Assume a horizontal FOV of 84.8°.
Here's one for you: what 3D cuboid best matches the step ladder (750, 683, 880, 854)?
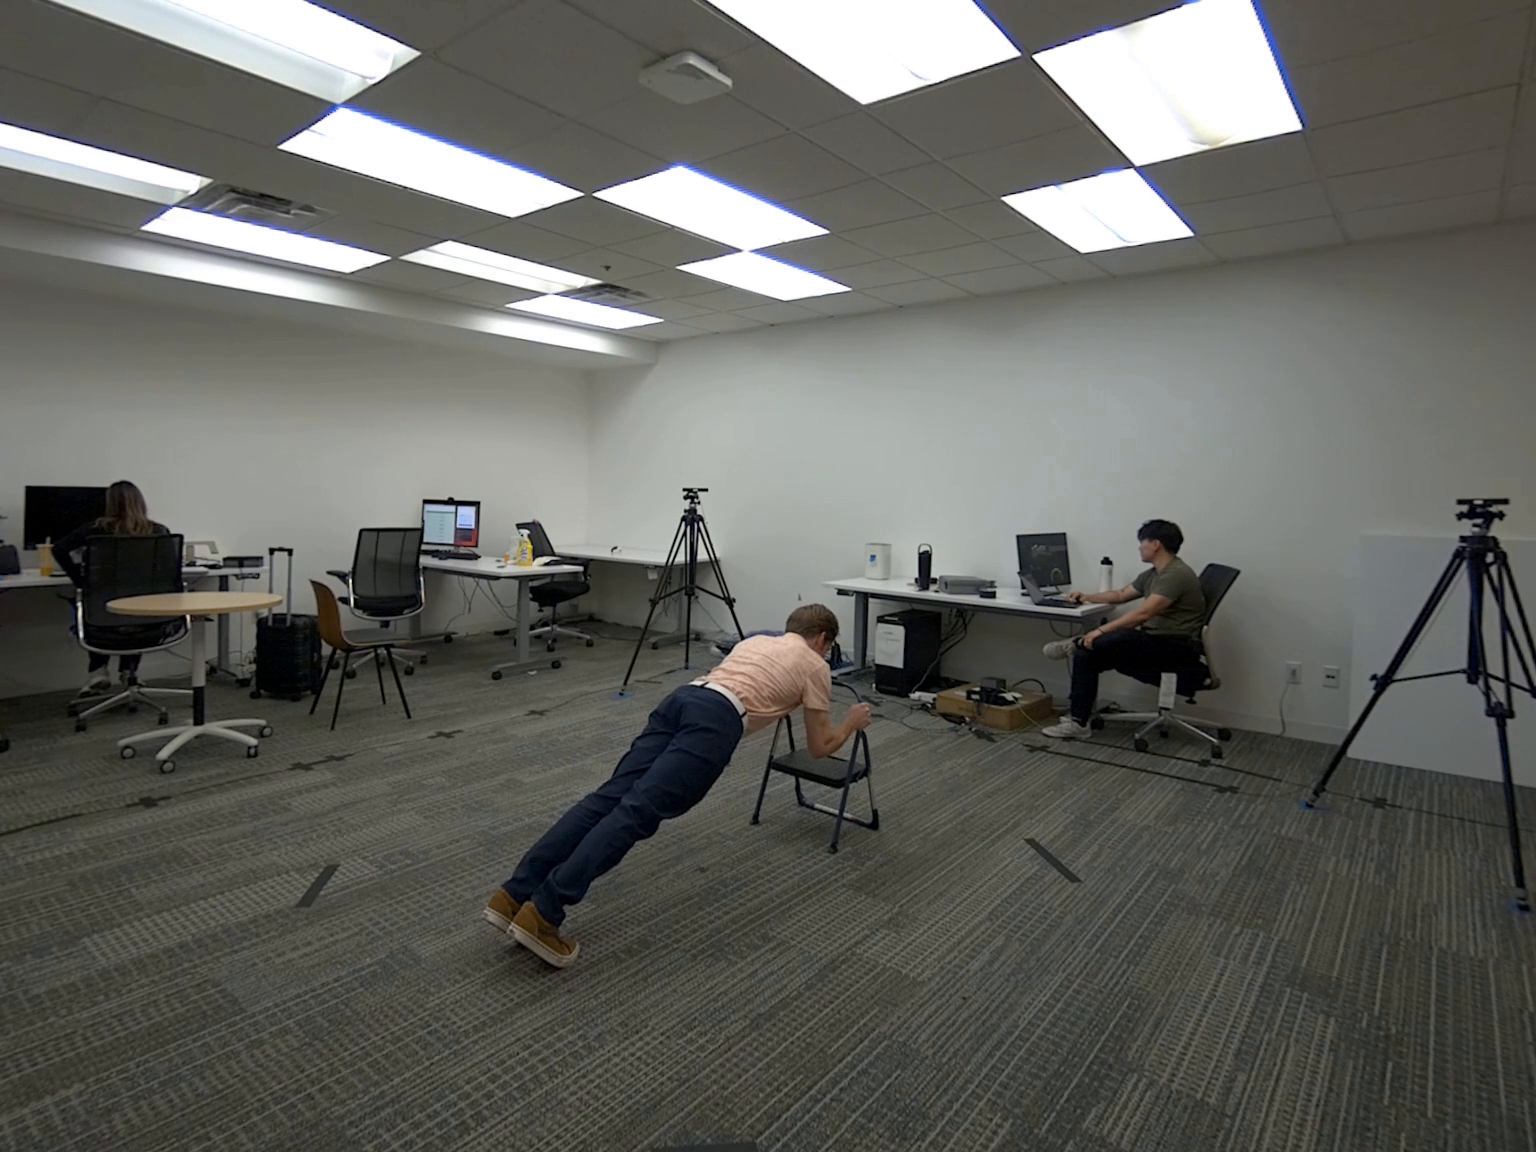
[{"bbox_3d":[0.195,0.737,3.523,0.445,0.604,0.339,4,4,40],"label":"step ladder"}]
